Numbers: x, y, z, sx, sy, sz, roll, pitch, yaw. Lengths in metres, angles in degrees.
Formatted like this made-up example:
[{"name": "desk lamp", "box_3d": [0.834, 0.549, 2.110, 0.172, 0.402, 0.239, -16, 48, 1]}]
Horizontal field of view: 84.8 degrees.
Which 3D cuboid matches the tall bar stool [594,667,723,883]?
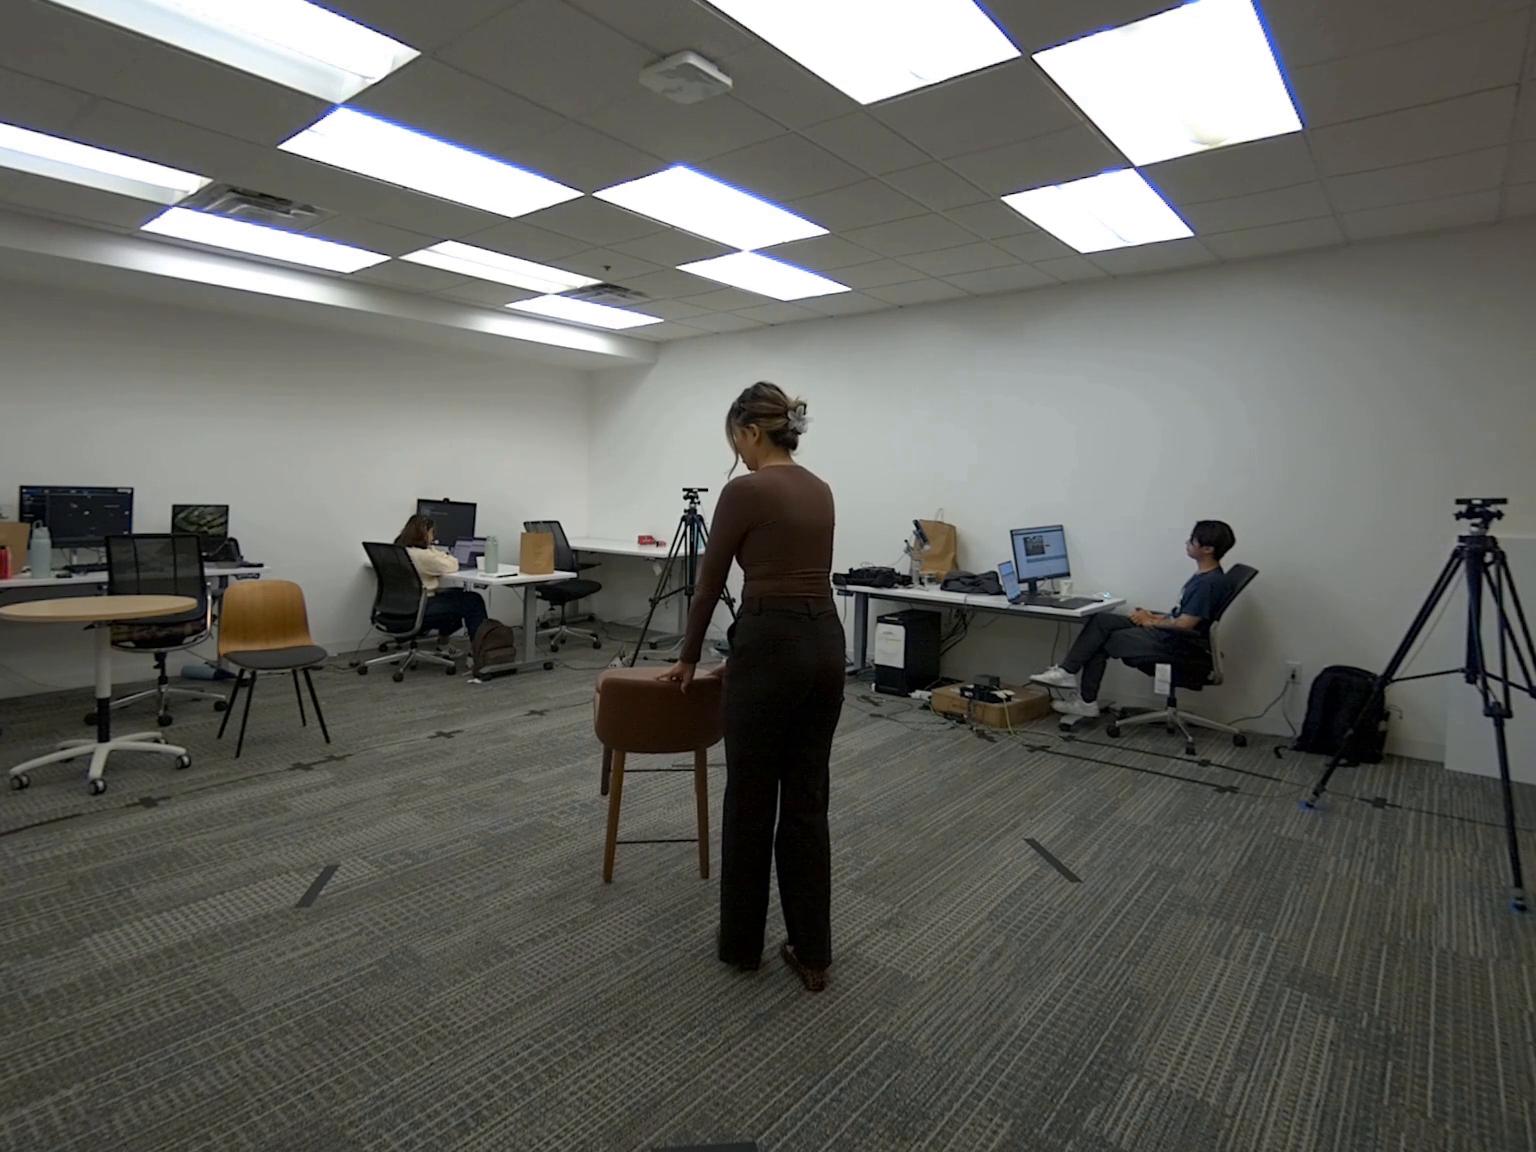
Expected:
[{"name": "tall bar stool", "box_3d": [-0.403, 0.591, 3.013, 0.453, 0.871, 0.481, 1, 28, -8]}]
